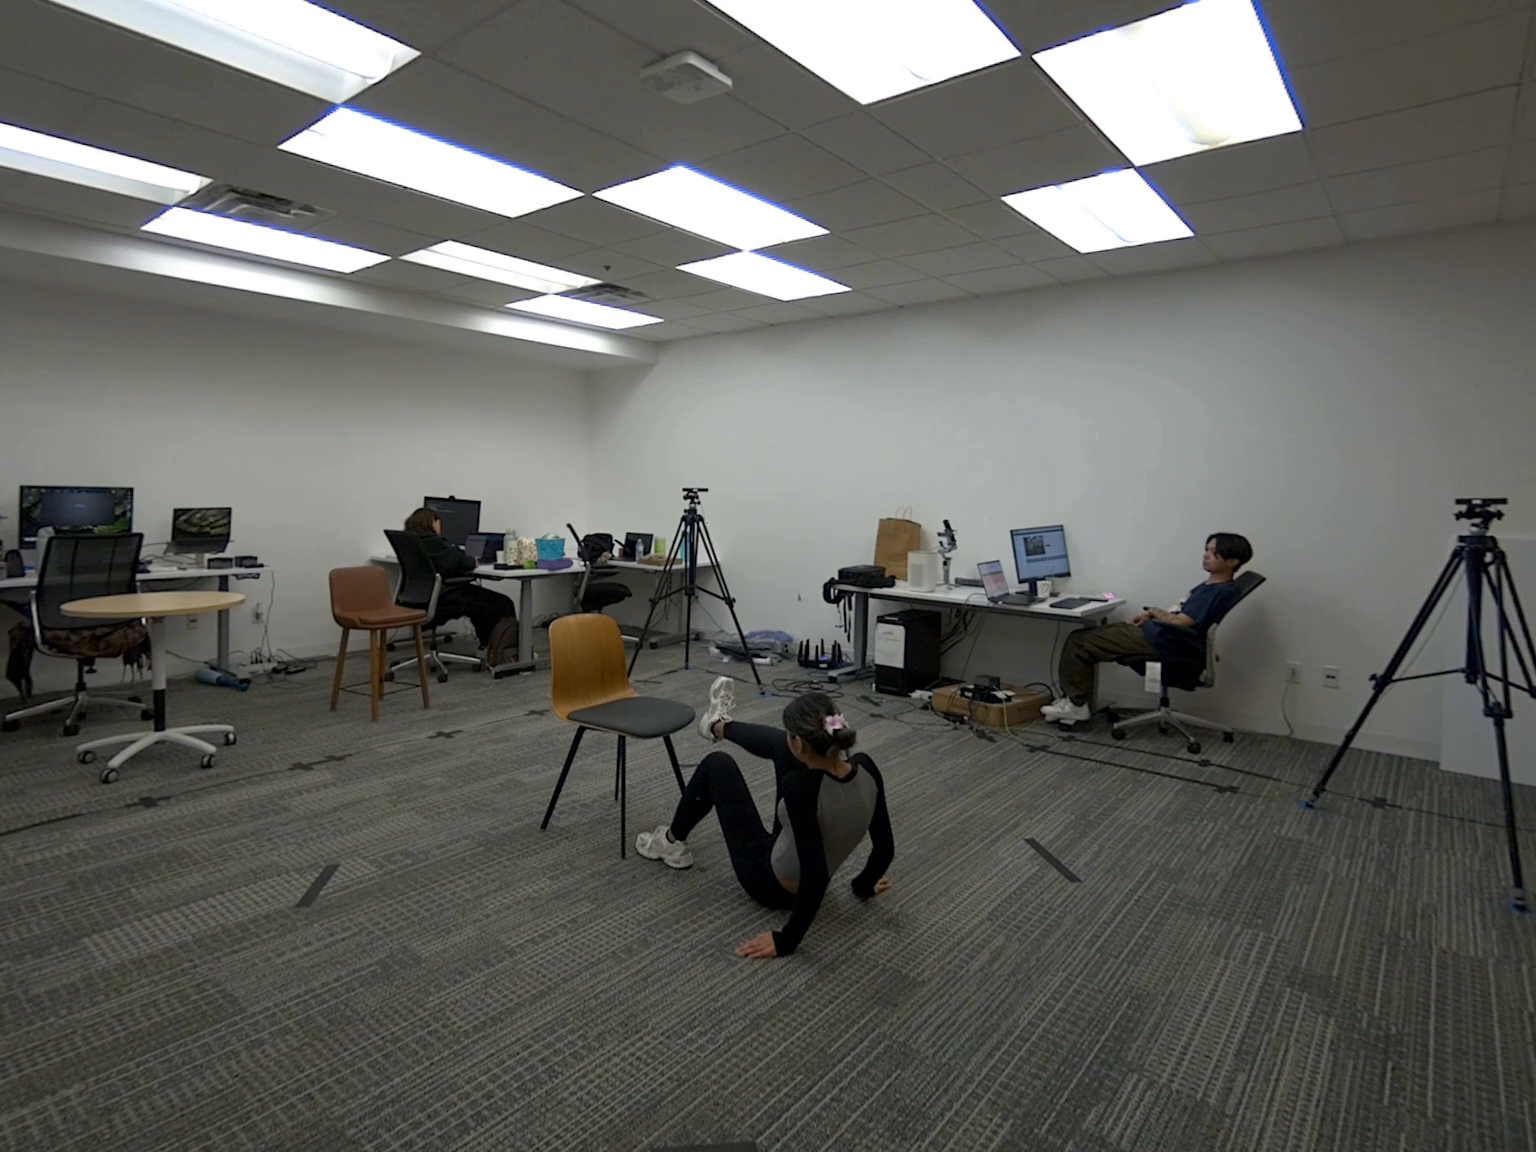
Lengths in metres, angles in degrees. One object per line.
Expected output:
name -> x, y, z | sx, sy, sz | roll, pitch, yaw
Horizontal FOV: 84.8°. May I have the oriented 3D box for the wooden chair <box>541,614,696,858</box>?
wooden chair -> -0.606, 0.600, 3.464 | 0.538, 0.877, 0.464 | -2, 0, 35
